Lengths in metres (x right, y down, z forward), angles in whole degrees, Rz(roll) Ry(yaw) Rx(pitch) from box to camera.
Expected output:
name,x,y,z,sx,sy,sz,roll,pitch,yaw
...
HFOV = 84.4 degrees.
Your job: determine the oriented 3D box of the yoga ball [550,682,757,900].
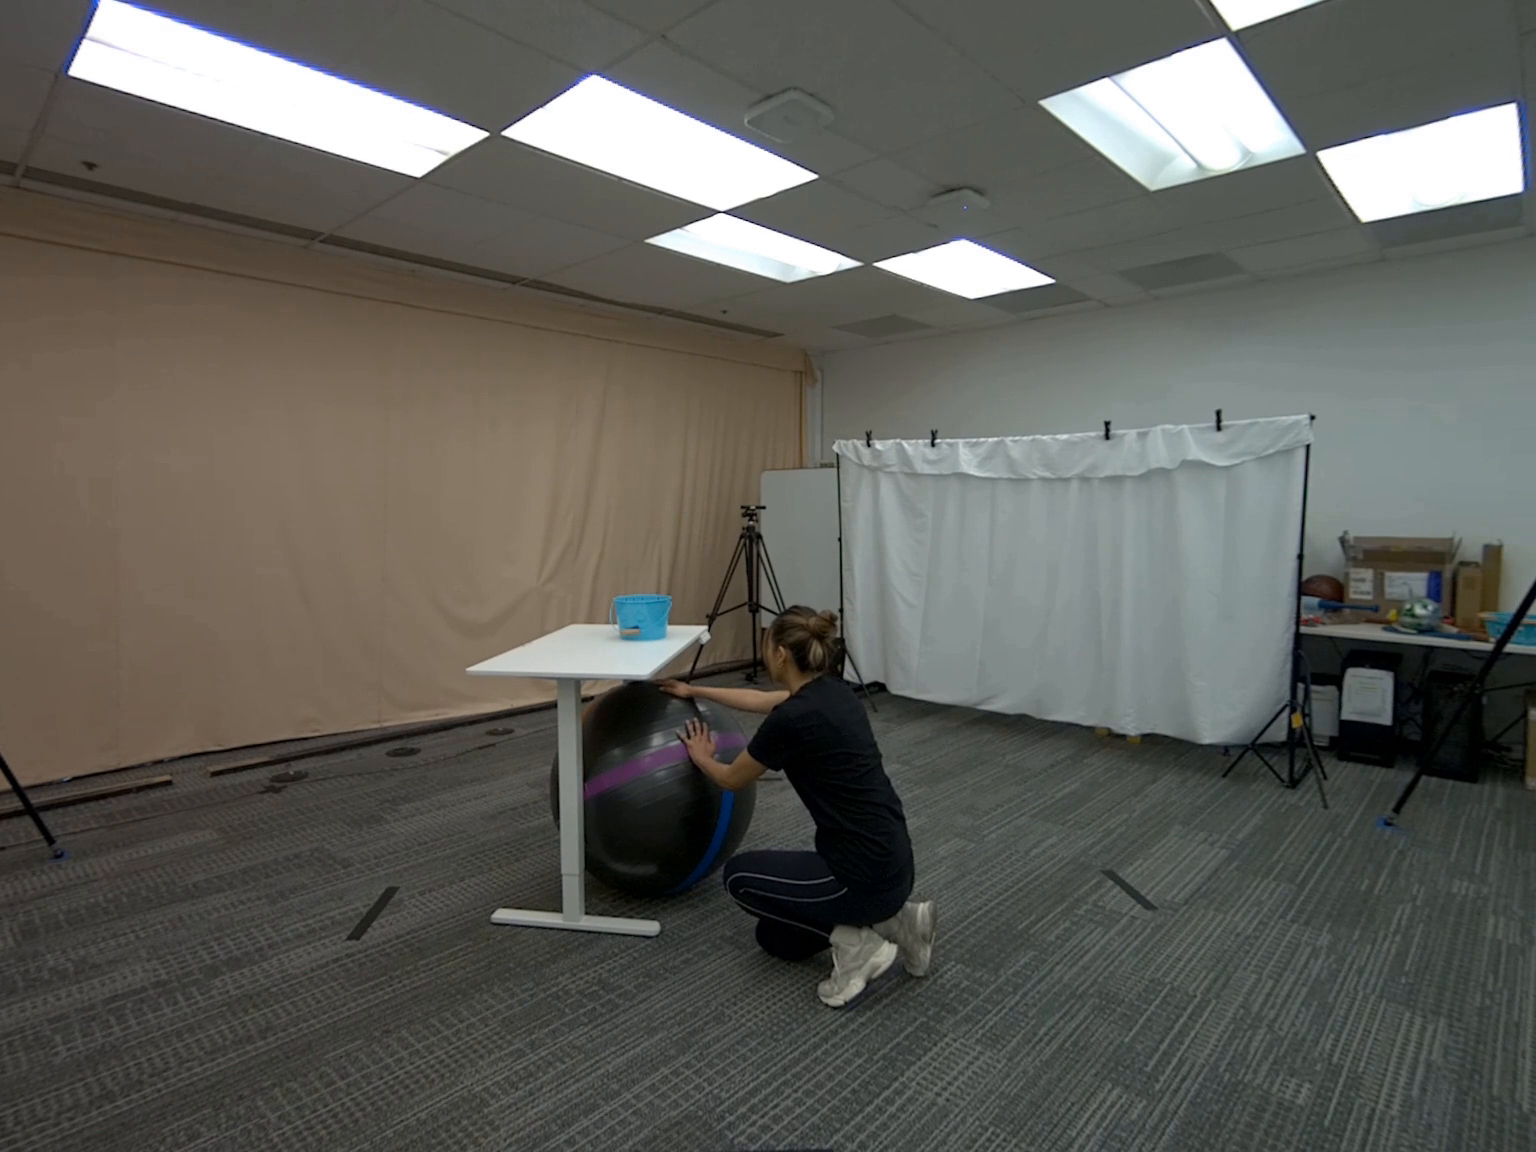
name,x,y,z,sx,sy,sz,roll,pitch,yaw
yoga ball,-0.429,0.780,3.106,0.757,0.756,0.761,0,4,-2
